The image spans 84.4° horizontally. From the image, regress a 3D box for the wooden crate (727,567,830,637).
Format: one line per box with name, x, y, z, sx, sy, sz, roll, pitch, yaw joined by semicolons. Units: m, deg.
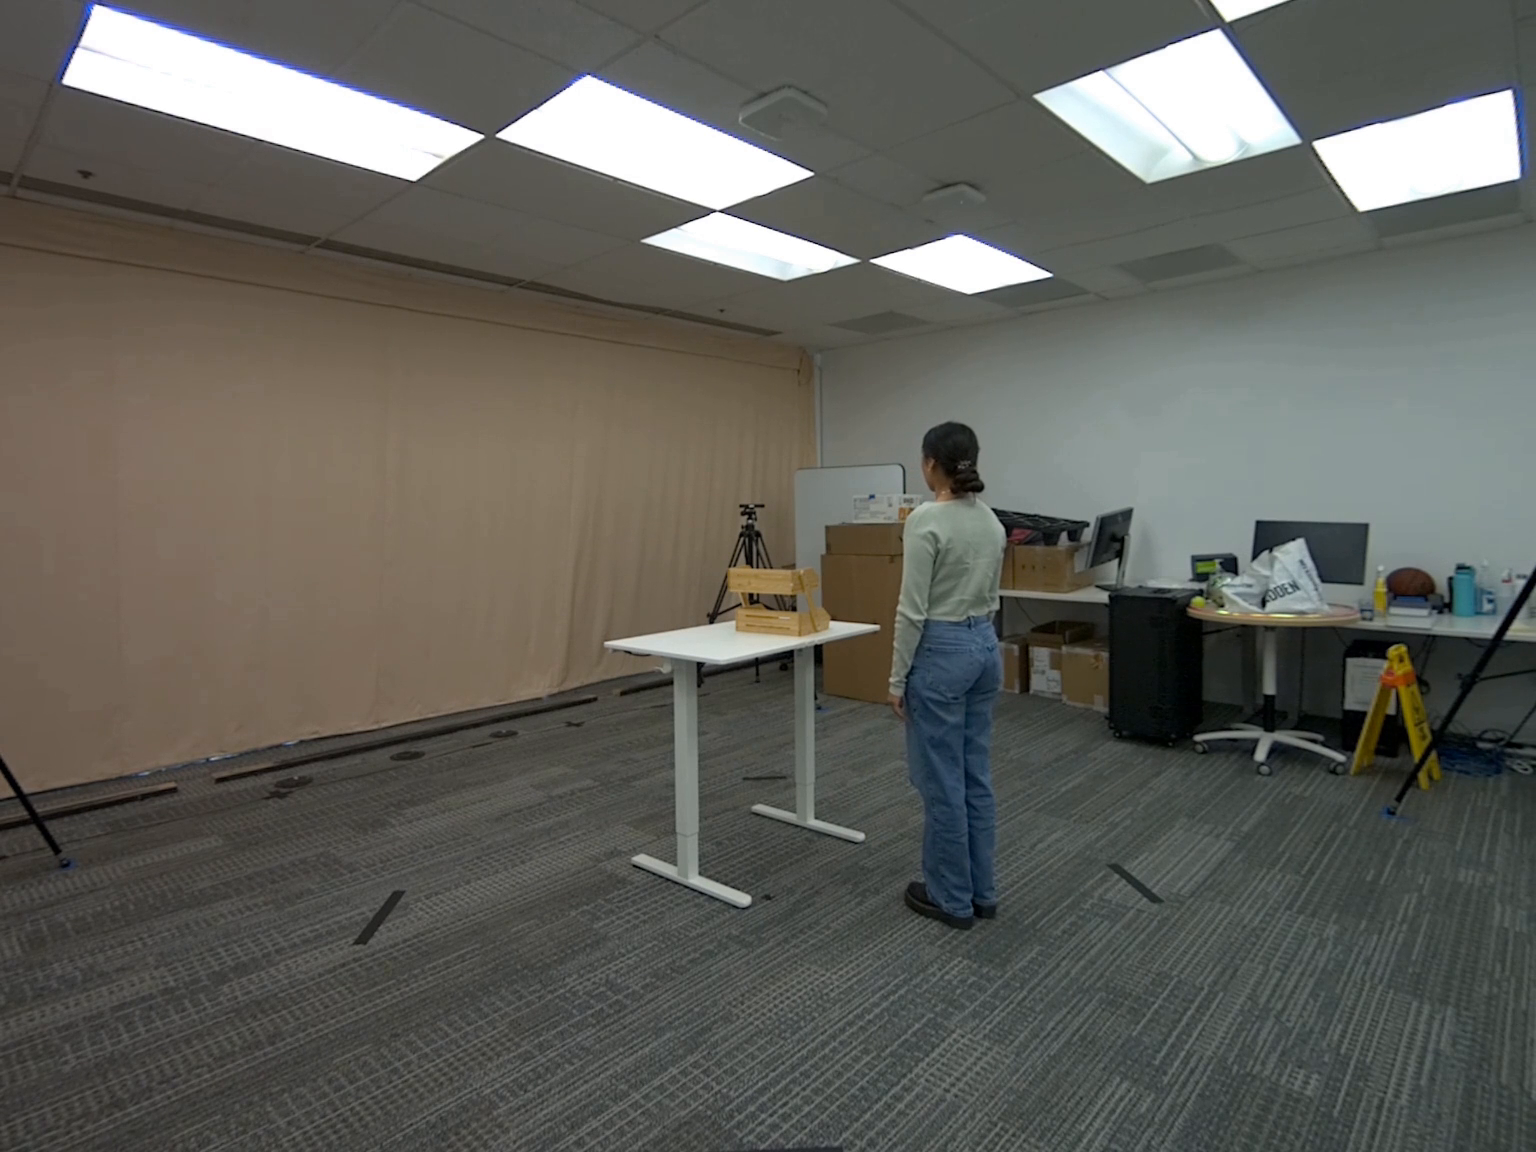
wooden crate;0.050;0.090;3.406;0.334;0.273;0.294;1;5;33
